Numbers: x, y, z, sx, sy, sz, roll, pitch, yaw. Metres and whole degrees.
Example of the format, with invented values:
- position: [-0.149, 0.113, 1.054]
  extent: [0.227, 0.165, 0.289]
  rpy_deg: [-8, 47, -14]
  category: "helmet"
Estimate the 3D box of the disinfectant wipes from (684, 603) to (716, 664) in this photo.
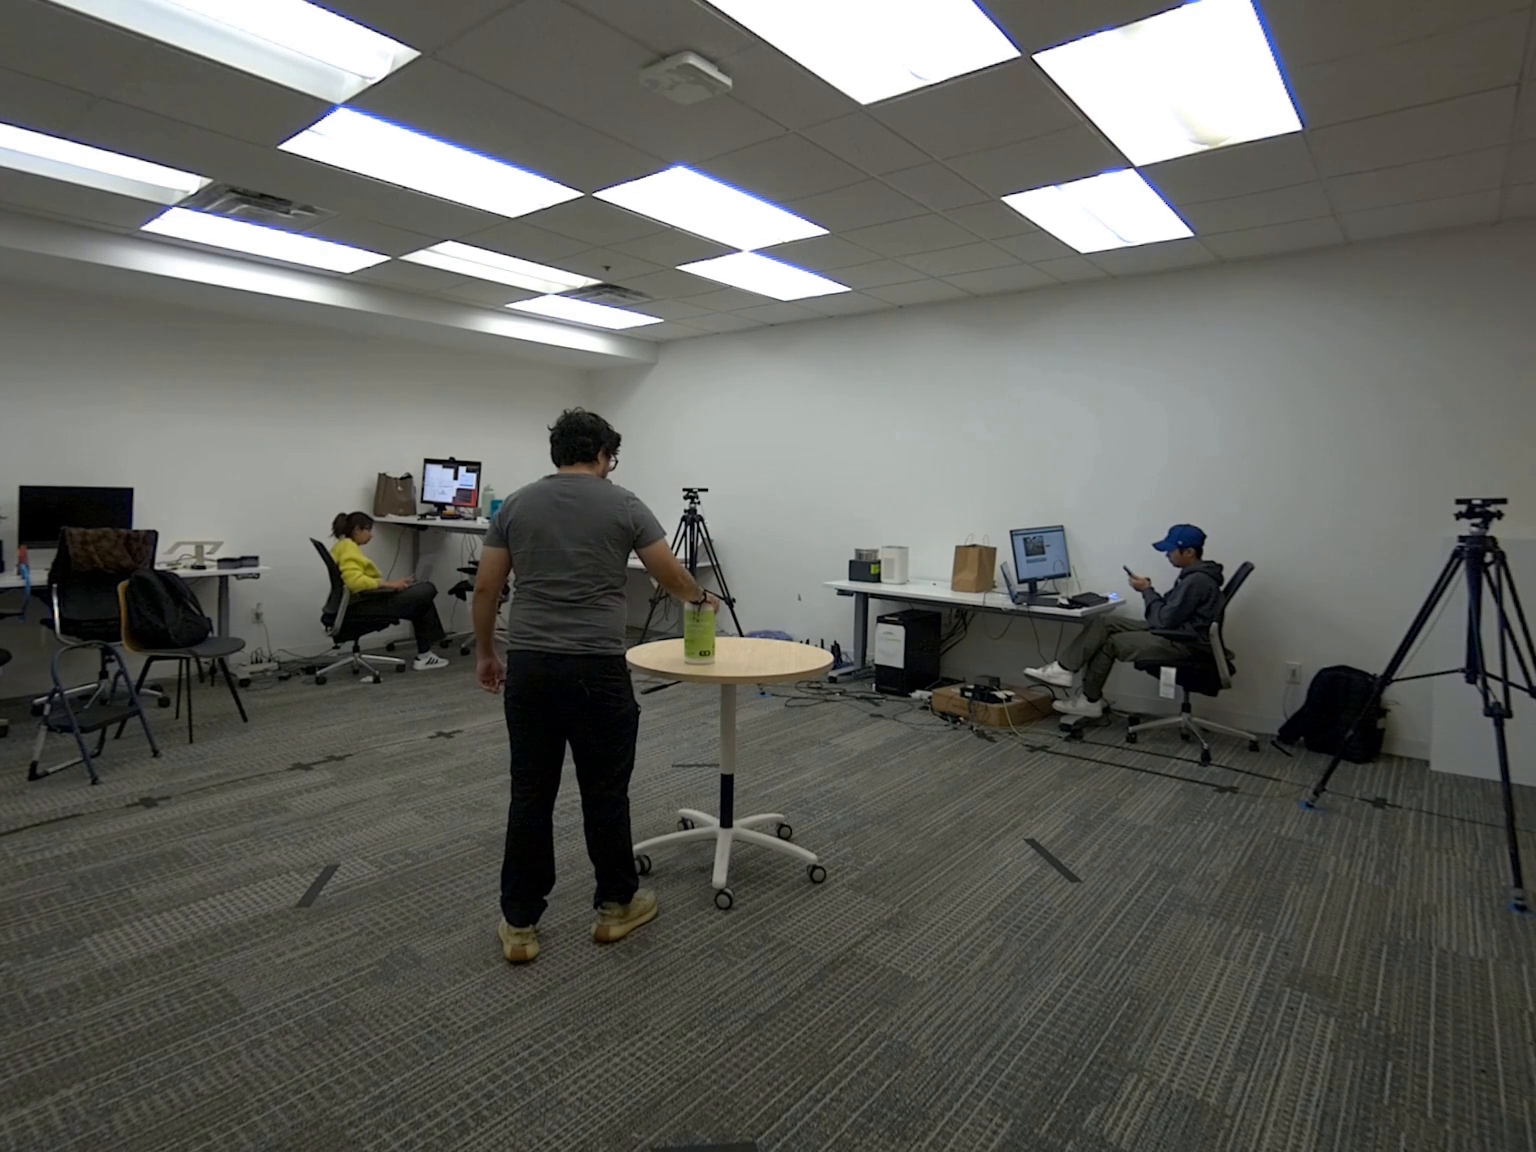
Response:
- position: [-0.251, 0.193, 2.979]
  extent: [0.118, 0.216, 0.118]
  rpy_deg: [0, 5, -2]
  category: "disinfectant wipes"
